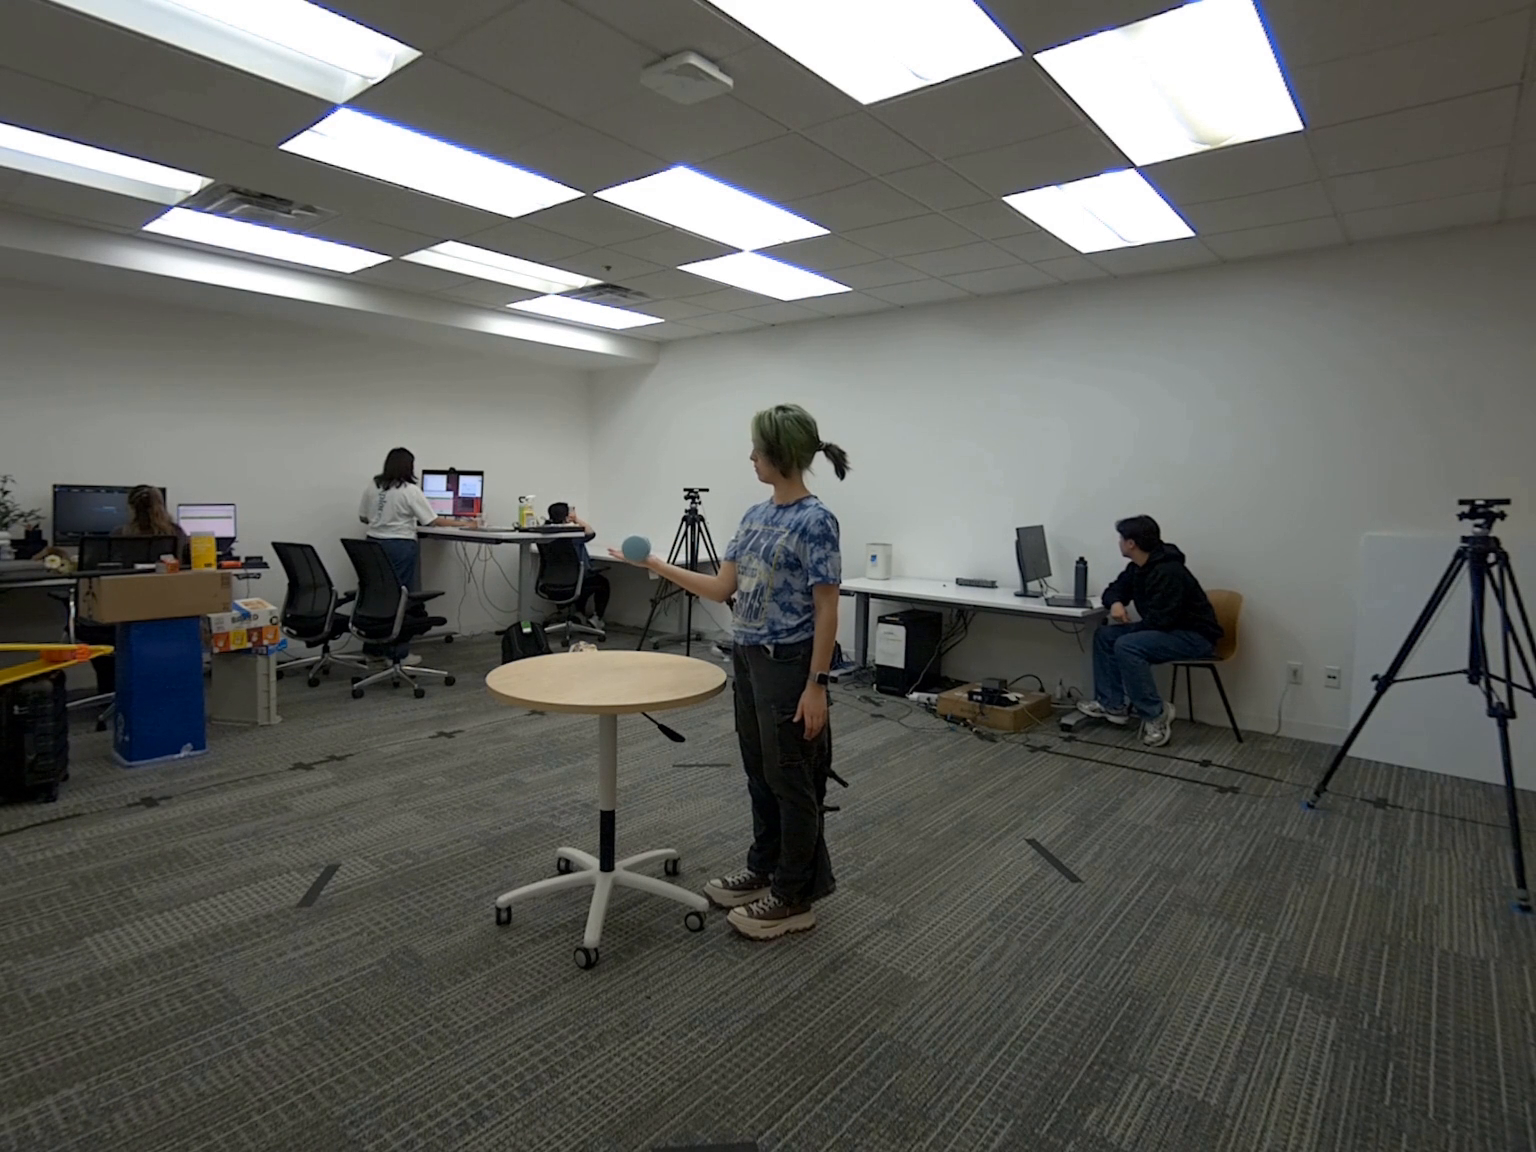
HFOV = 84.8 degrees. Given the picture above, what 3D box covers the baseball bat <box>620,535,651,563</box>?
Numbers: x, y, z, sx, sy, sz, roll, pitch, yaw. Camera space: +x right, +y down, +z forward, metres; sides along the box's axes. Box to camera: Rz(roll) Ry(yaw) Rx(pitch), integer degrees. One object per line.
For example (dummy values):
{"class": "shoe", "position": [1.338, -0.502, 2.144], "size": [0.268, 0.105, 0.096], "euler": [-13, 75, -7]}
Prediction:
{"class": "baseball bat", "position": [-0.461, -0.101, 2.851], "size": [0.088, 0.089, 0.547], "euler": [0, 4, -7]}
